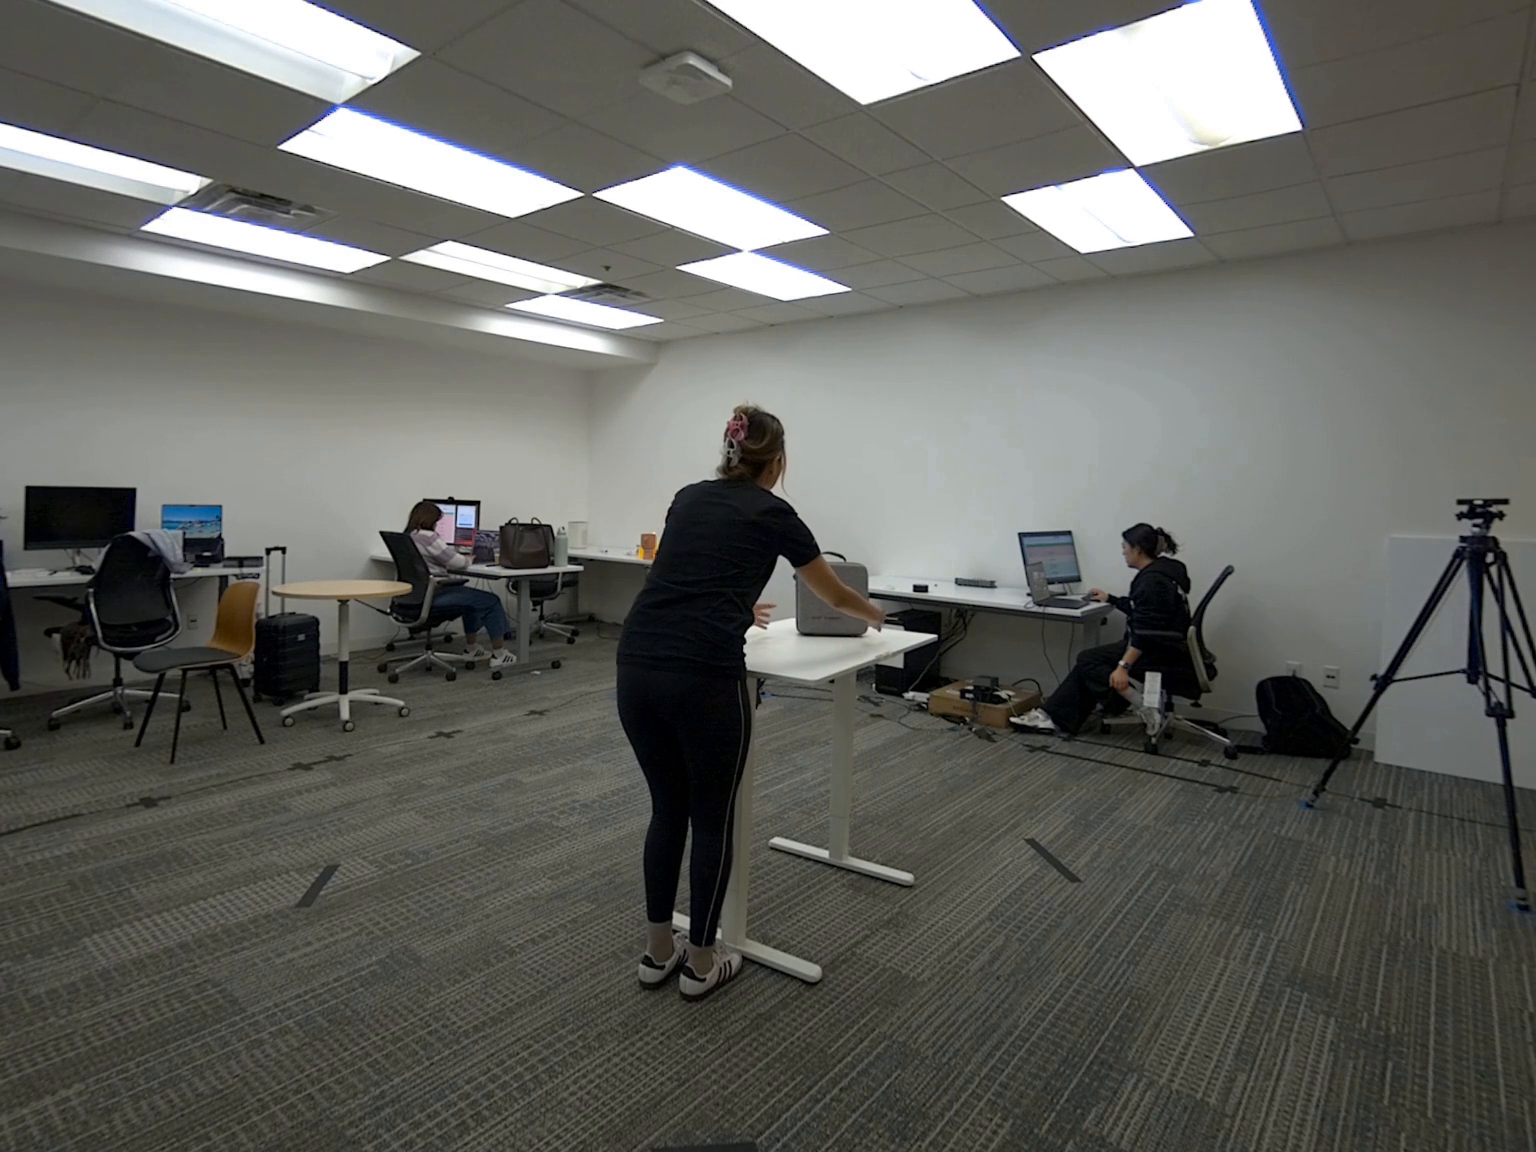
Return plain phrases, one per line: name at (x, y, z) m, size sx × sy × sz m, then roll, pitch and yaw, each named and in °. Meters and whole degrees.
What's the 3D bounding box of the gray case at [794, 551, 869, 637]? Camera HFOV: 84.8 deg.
gray case at (0.208, 0.072, 3.040) m, size 0.255 × 0.263 × 0.104 m, roll 4°, pitch -8°, yaw -6°
